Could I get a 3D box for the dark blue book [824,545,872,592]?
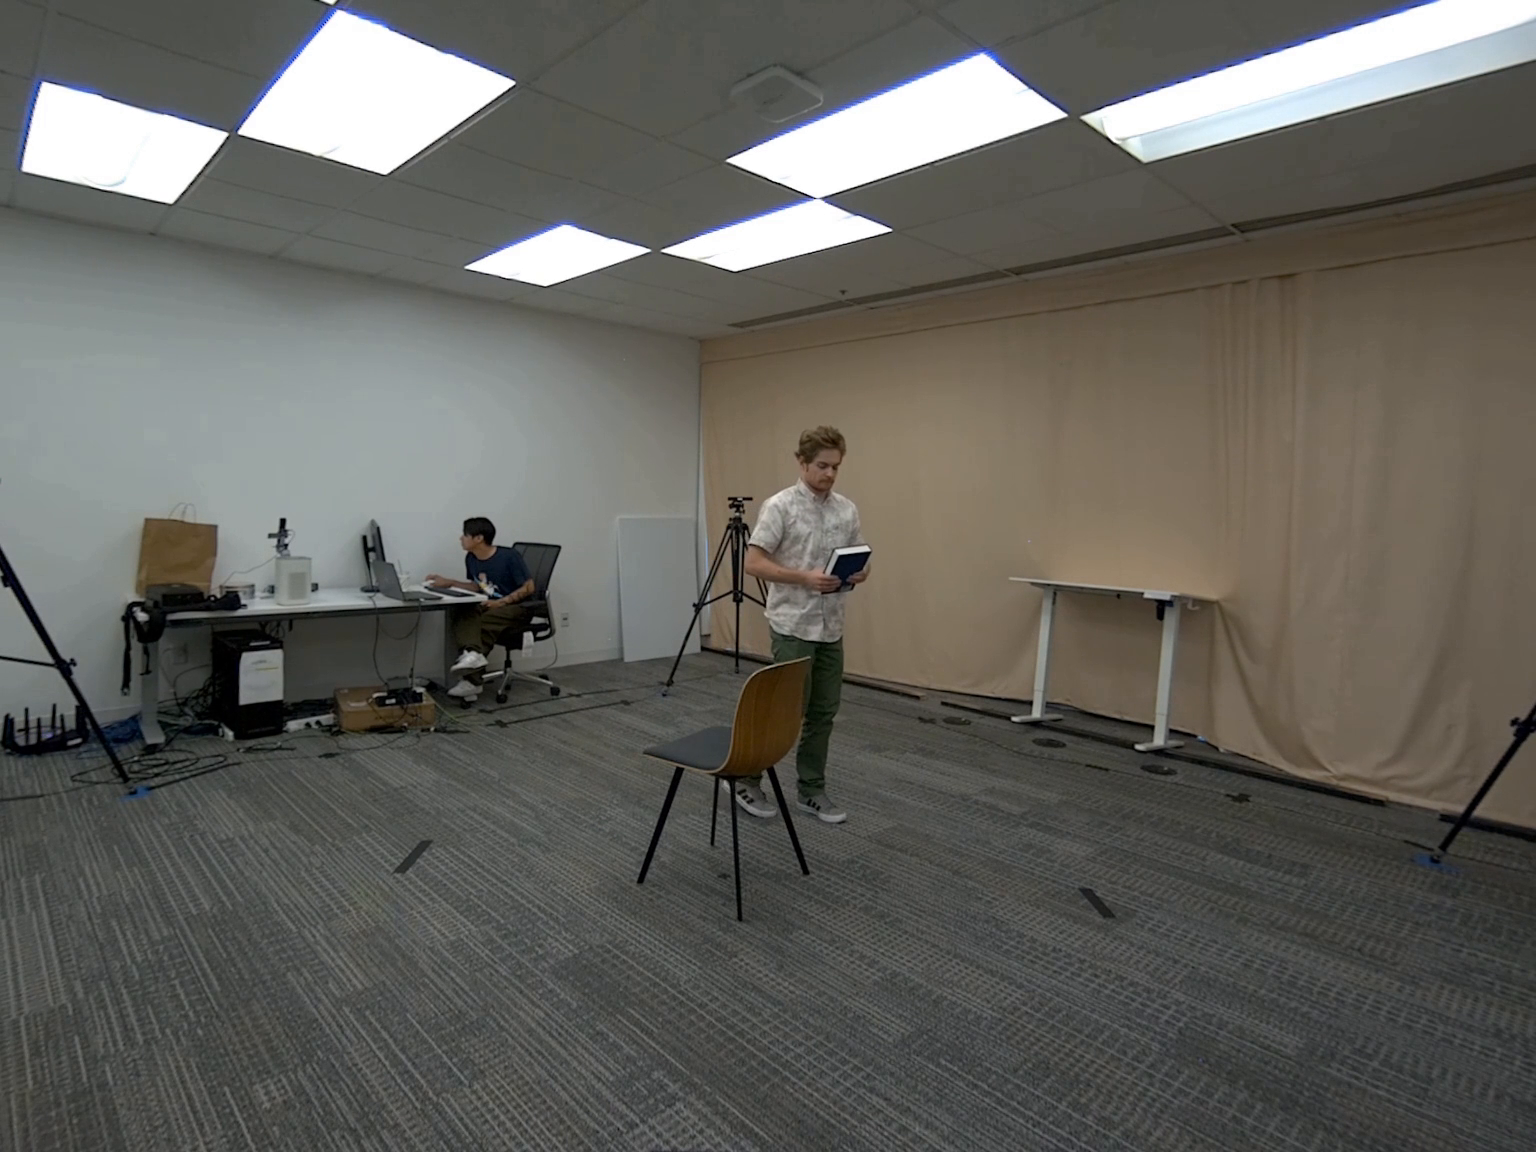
[{"bbox_3d":[0.303,-0.035,3.489,0.161,0.046,0.242,-7,-35,-22],"label":"dark blue book"}]
